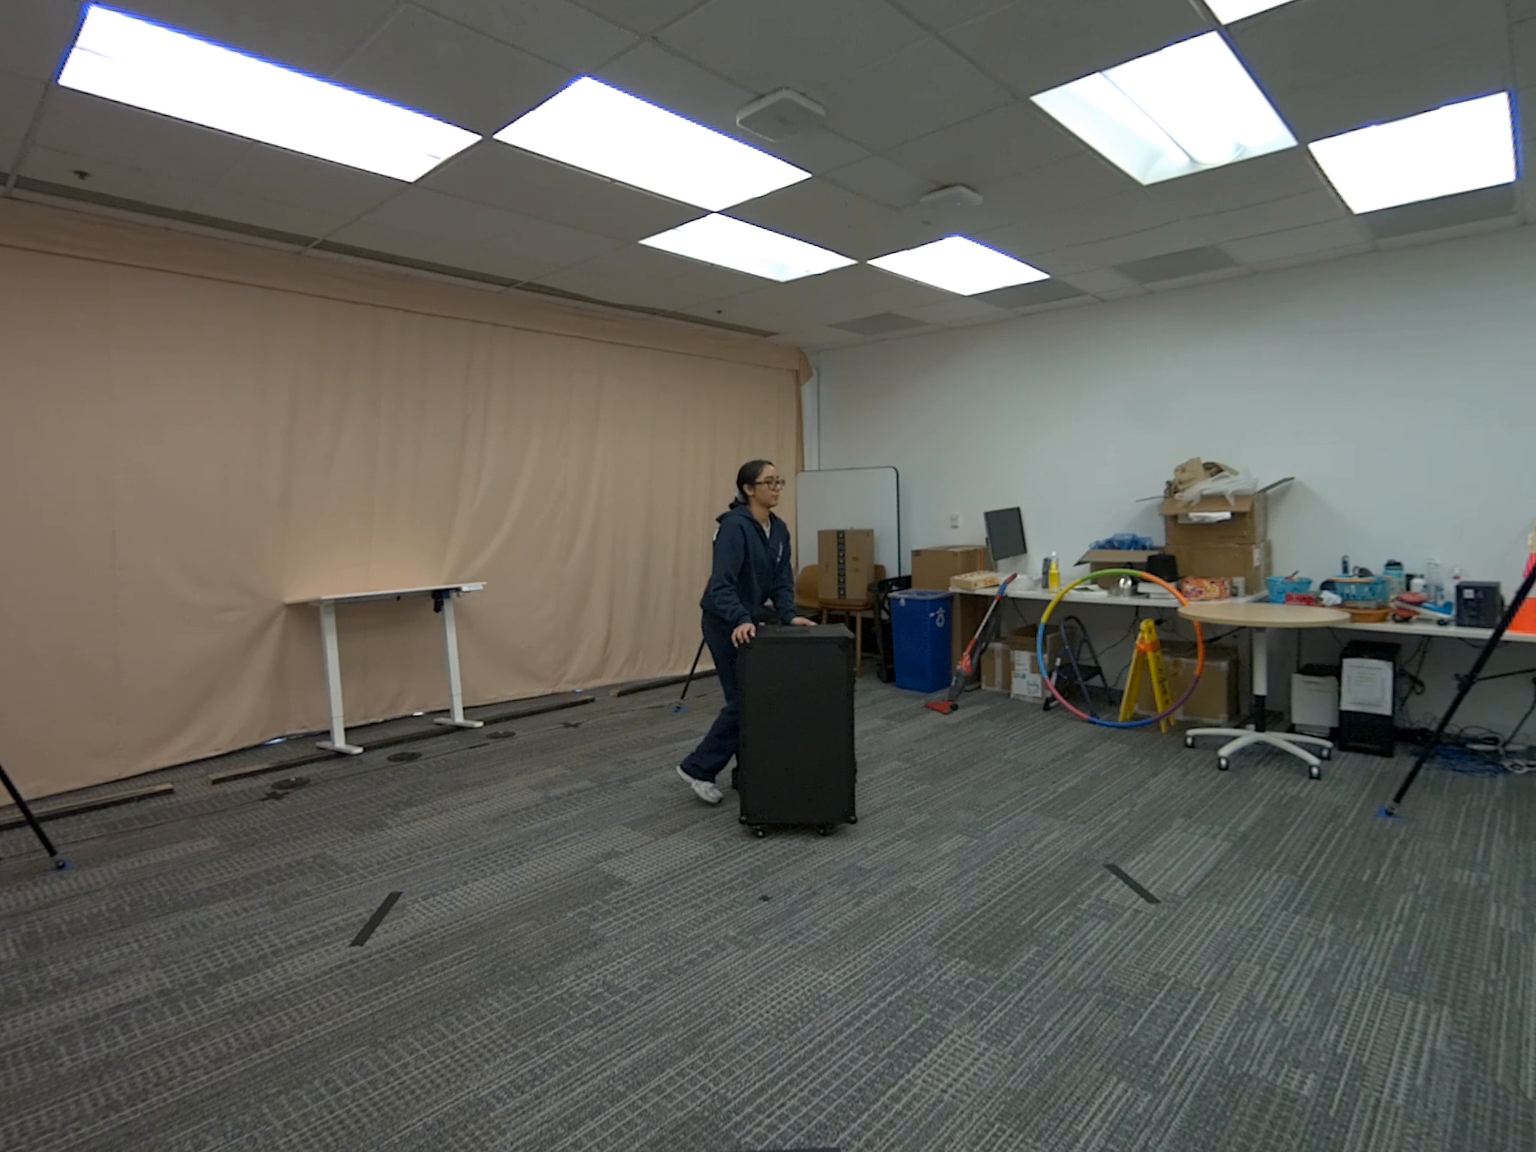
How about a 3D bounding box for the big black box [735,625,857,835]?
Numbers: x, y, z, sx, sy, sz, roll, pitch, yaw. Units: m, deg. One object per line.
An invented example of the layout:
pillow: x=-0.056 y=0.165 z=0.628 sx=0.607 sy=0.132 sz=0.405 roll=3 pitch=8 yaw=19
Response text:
big black box: x=0.121 y=0.656 z=3.652 sx=0.523 sy=0.860 sz=0.396 roll=-1 pitch=2 yaw=2
